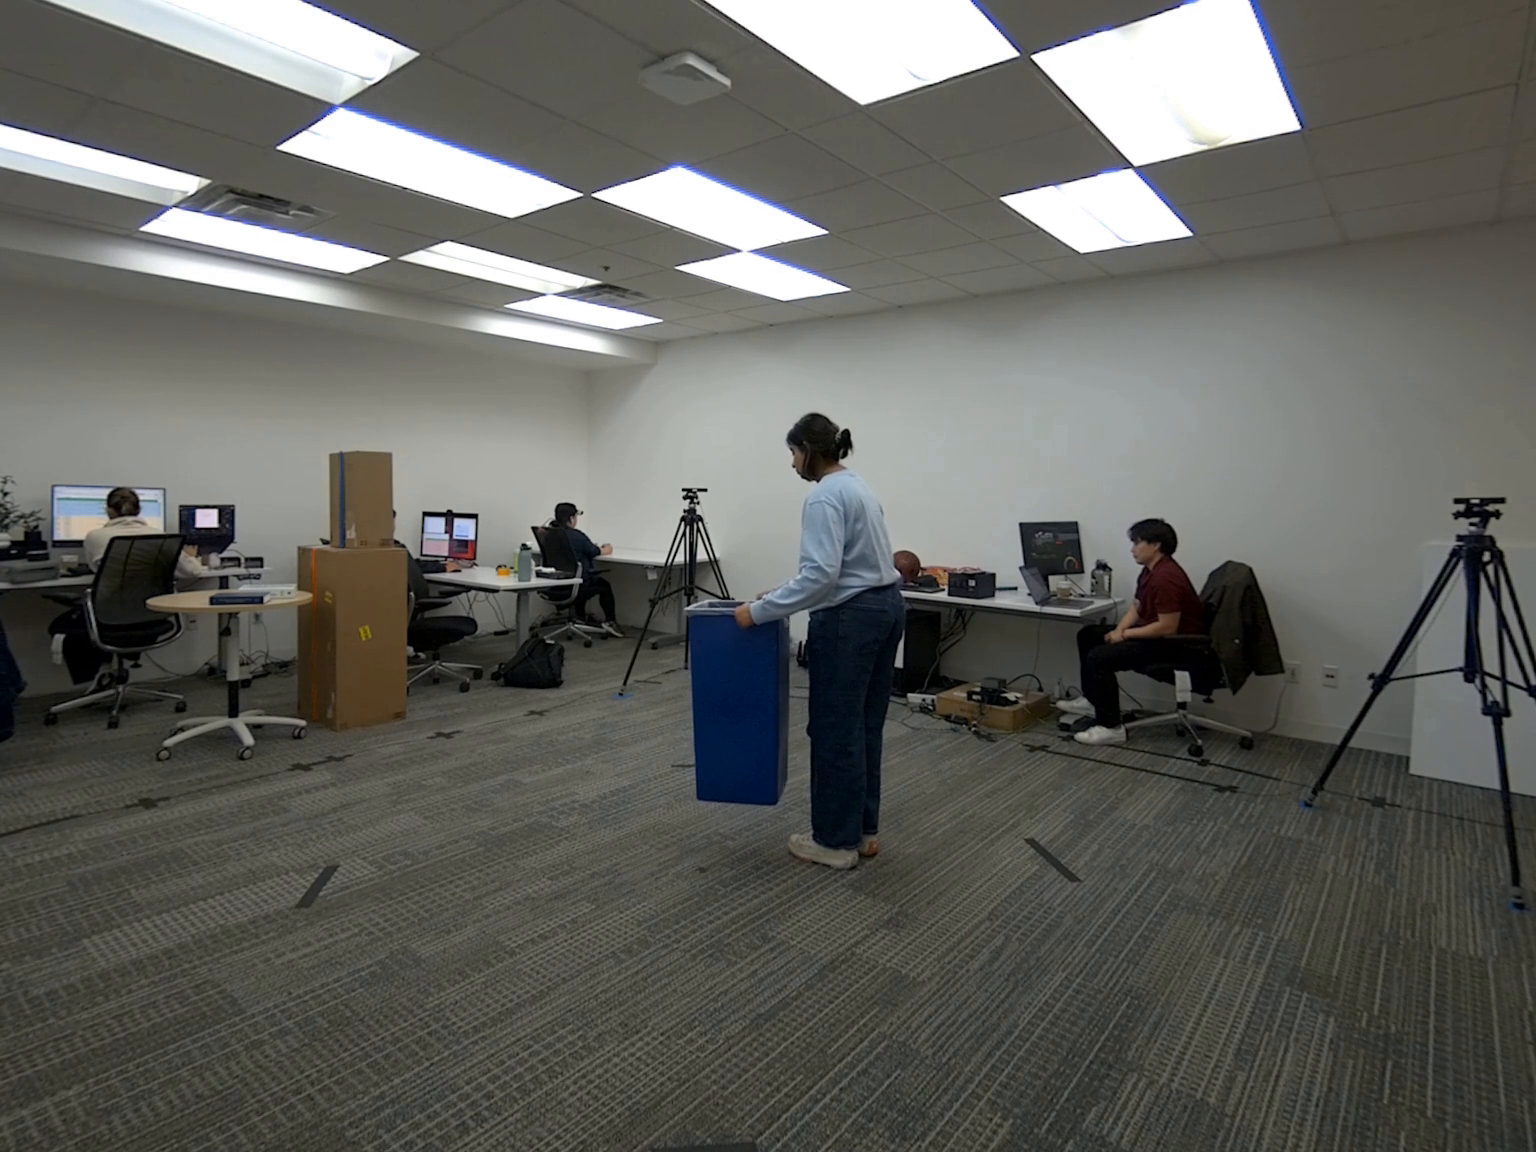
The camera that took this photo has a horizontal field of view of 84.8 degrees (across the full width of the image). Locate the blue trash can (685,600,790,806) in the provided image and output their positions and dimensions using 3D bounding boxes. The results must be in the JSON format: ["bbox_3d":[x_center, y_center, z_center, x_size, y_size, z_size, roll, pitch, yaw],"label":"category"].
[{"bbox_3d":[-0.113,0.469,3.248,0.379,0.714,0.373,-1,0,11],"label":"blue trash can"}]
